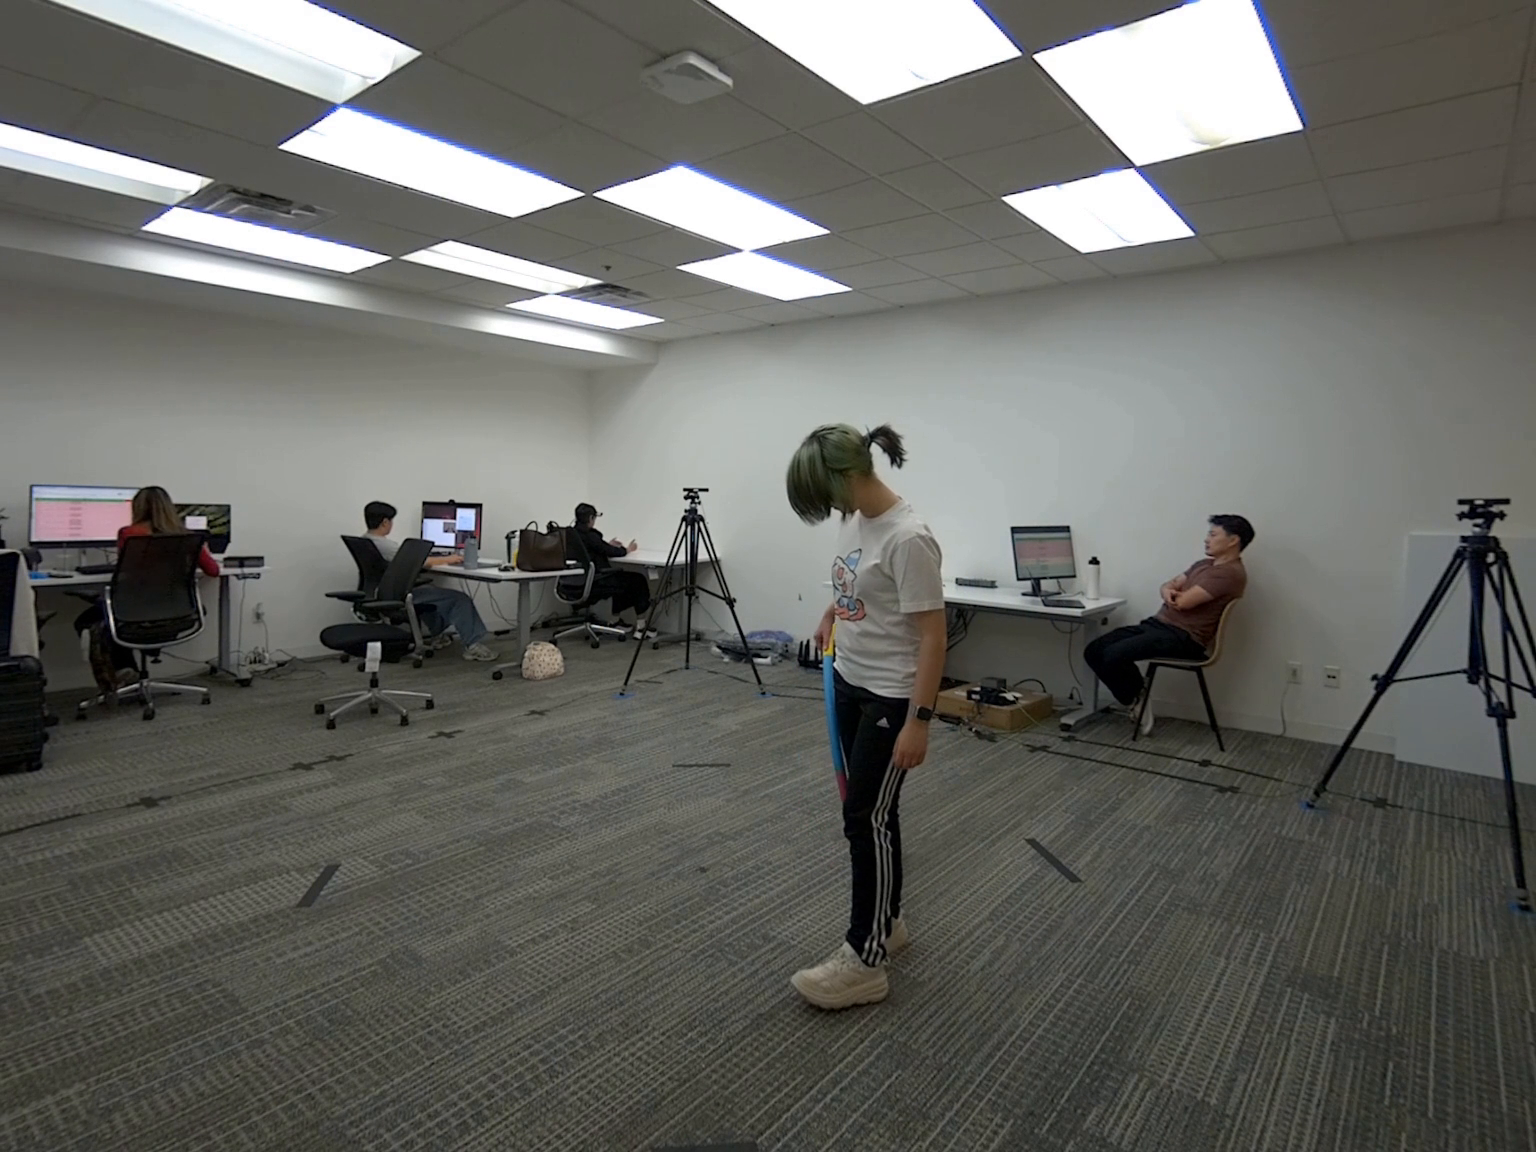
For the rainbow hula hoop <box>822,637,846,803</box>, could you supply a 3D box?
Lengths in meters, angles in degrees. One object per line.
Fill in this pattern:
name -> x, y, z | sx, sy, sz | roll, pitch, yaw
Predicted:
rainbow hula hoop -> 0.330, 0.606, 3.066 | 0.036, 0.980, 0.965 | -13, 0, 14
